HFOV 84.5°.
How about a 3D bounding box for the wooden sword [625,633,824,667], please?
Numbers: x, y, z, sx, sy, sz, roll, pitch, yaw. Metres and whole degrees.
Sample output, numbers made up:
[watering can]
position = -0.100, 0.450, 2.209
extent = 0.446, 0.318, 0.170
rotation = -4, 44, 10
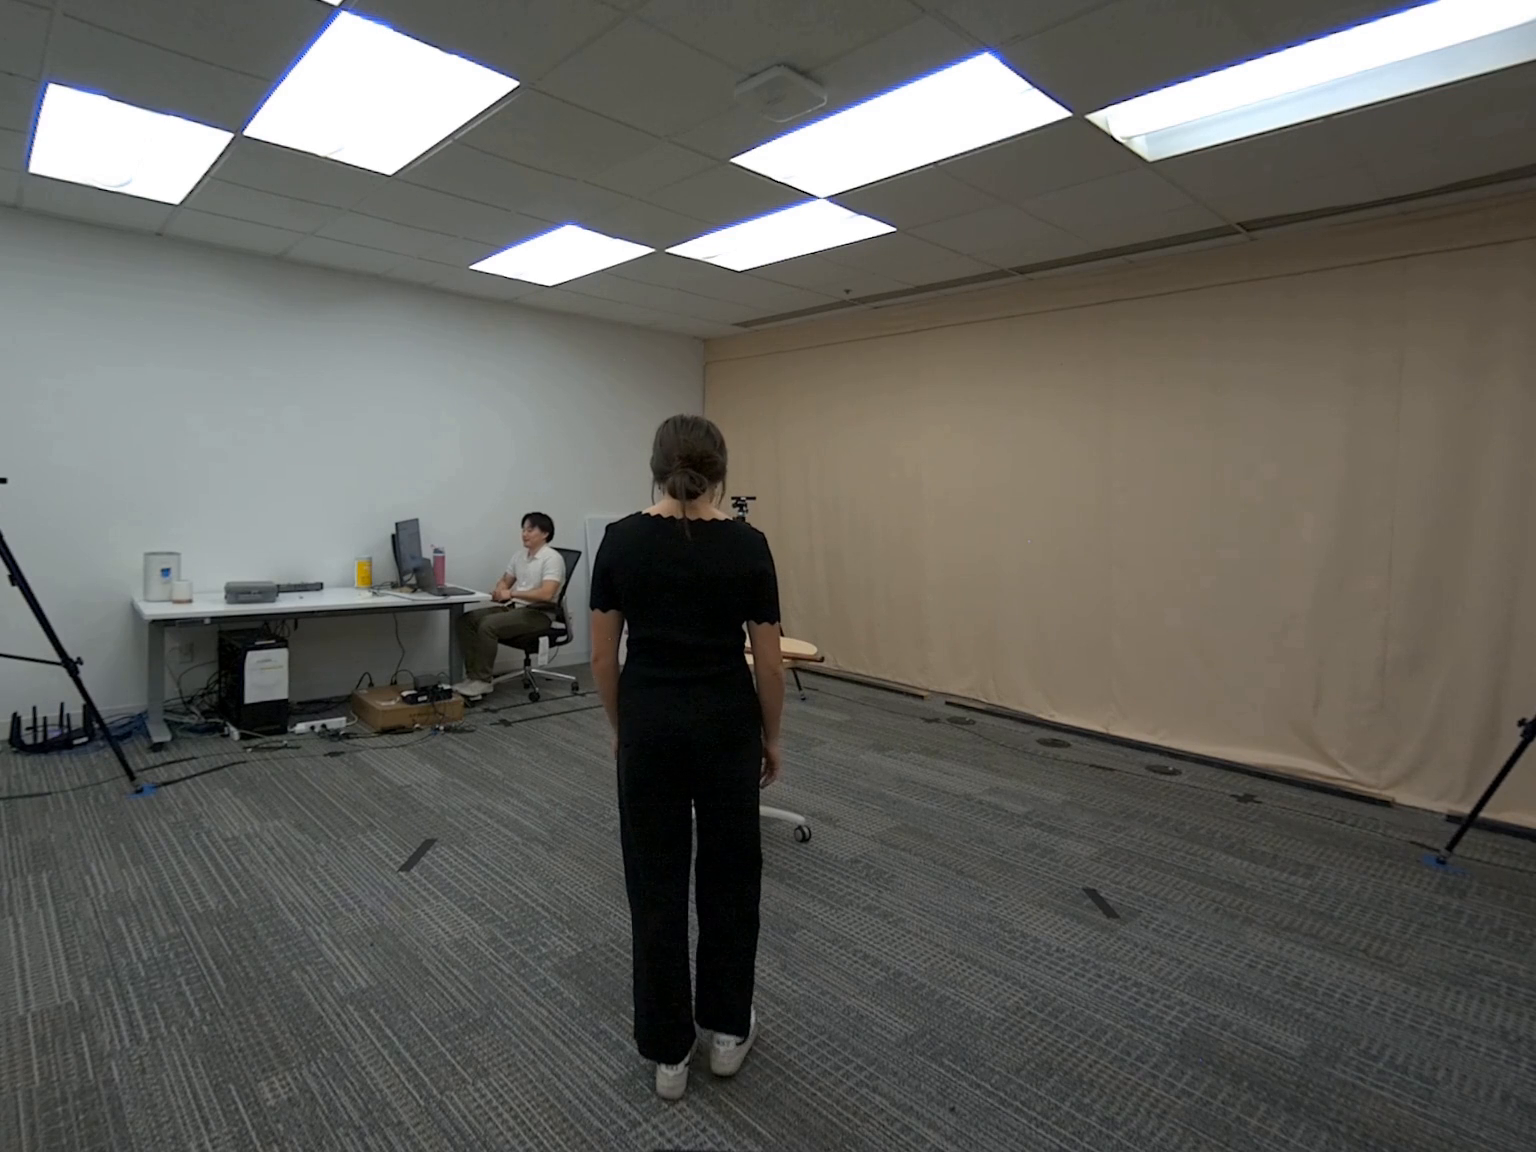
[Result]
[wooden sword]
position = -0.228, 0.287, 3.389
extent = 1.050, 0.024, 0.050
rotation = 4, -5, 38
